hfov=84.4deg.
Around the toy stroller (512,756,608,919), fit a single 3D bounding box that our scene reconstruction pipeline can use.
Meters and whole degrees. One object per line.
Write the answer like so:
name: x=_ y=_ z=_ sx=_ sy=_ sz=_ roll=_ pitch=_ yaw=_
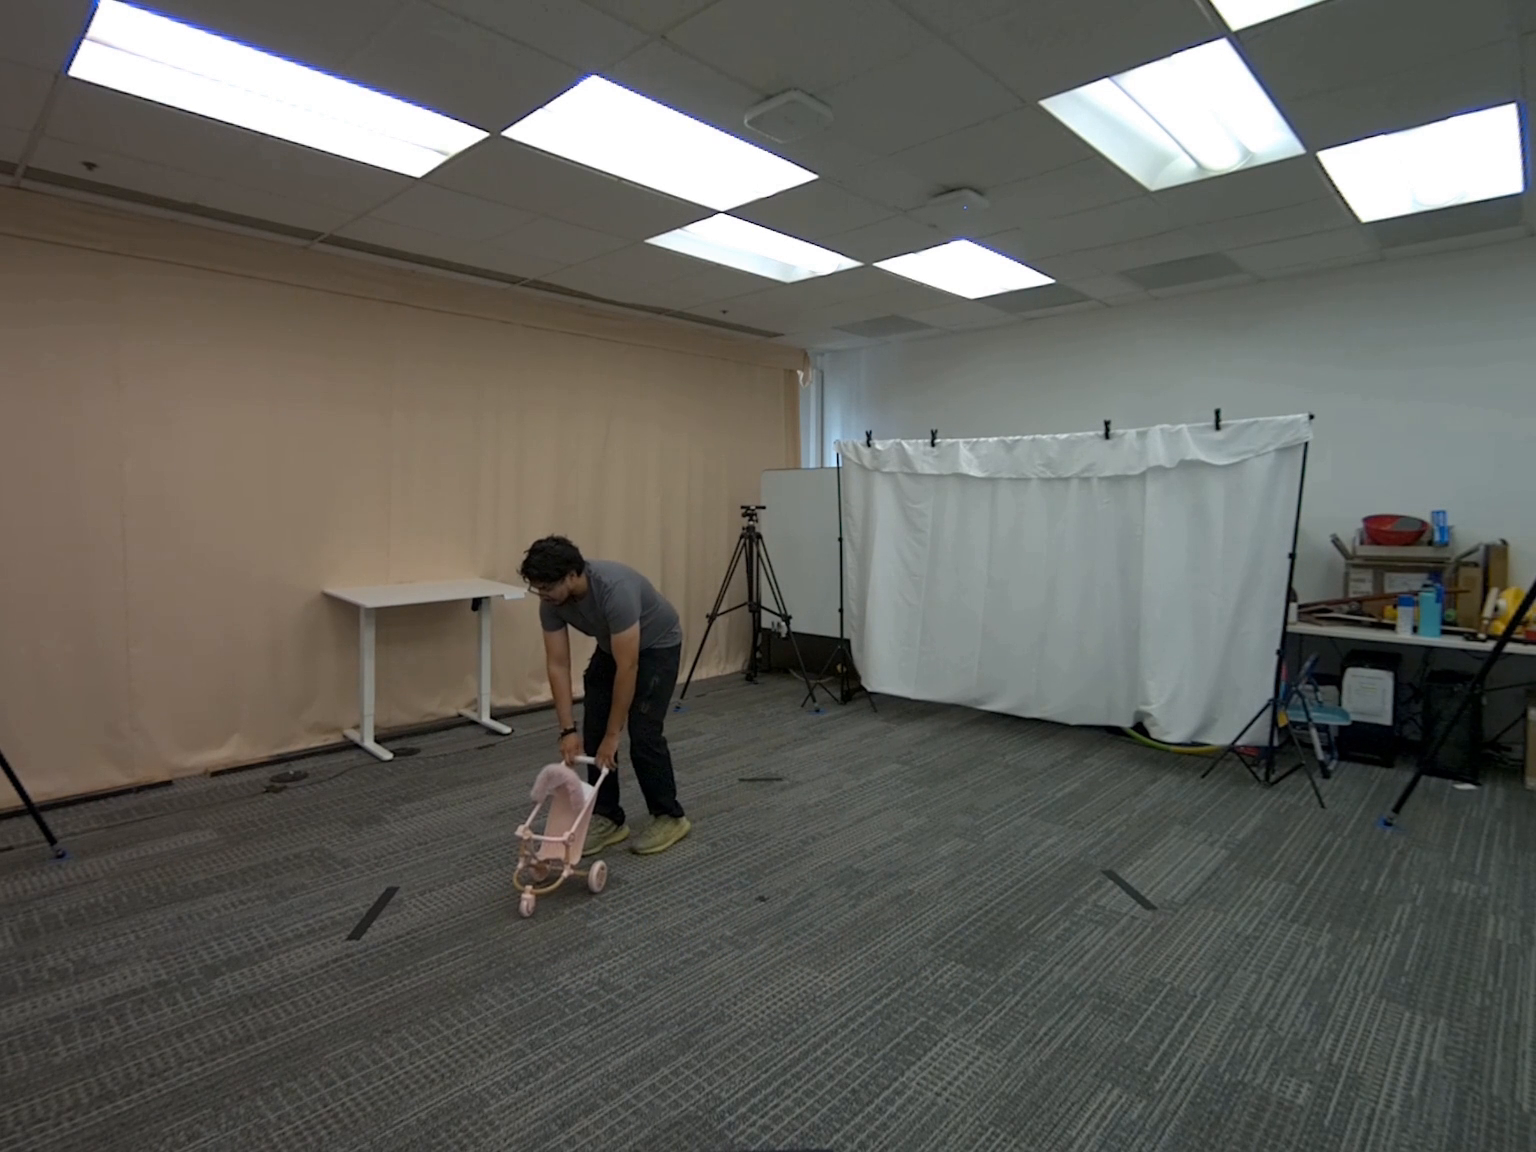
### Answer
toy stroller: x=-0.758 y=0.921 z=3.026 sx=0.289 sy=0.538 sz=0.331 roll=1 pitch=-12 yaw=25
